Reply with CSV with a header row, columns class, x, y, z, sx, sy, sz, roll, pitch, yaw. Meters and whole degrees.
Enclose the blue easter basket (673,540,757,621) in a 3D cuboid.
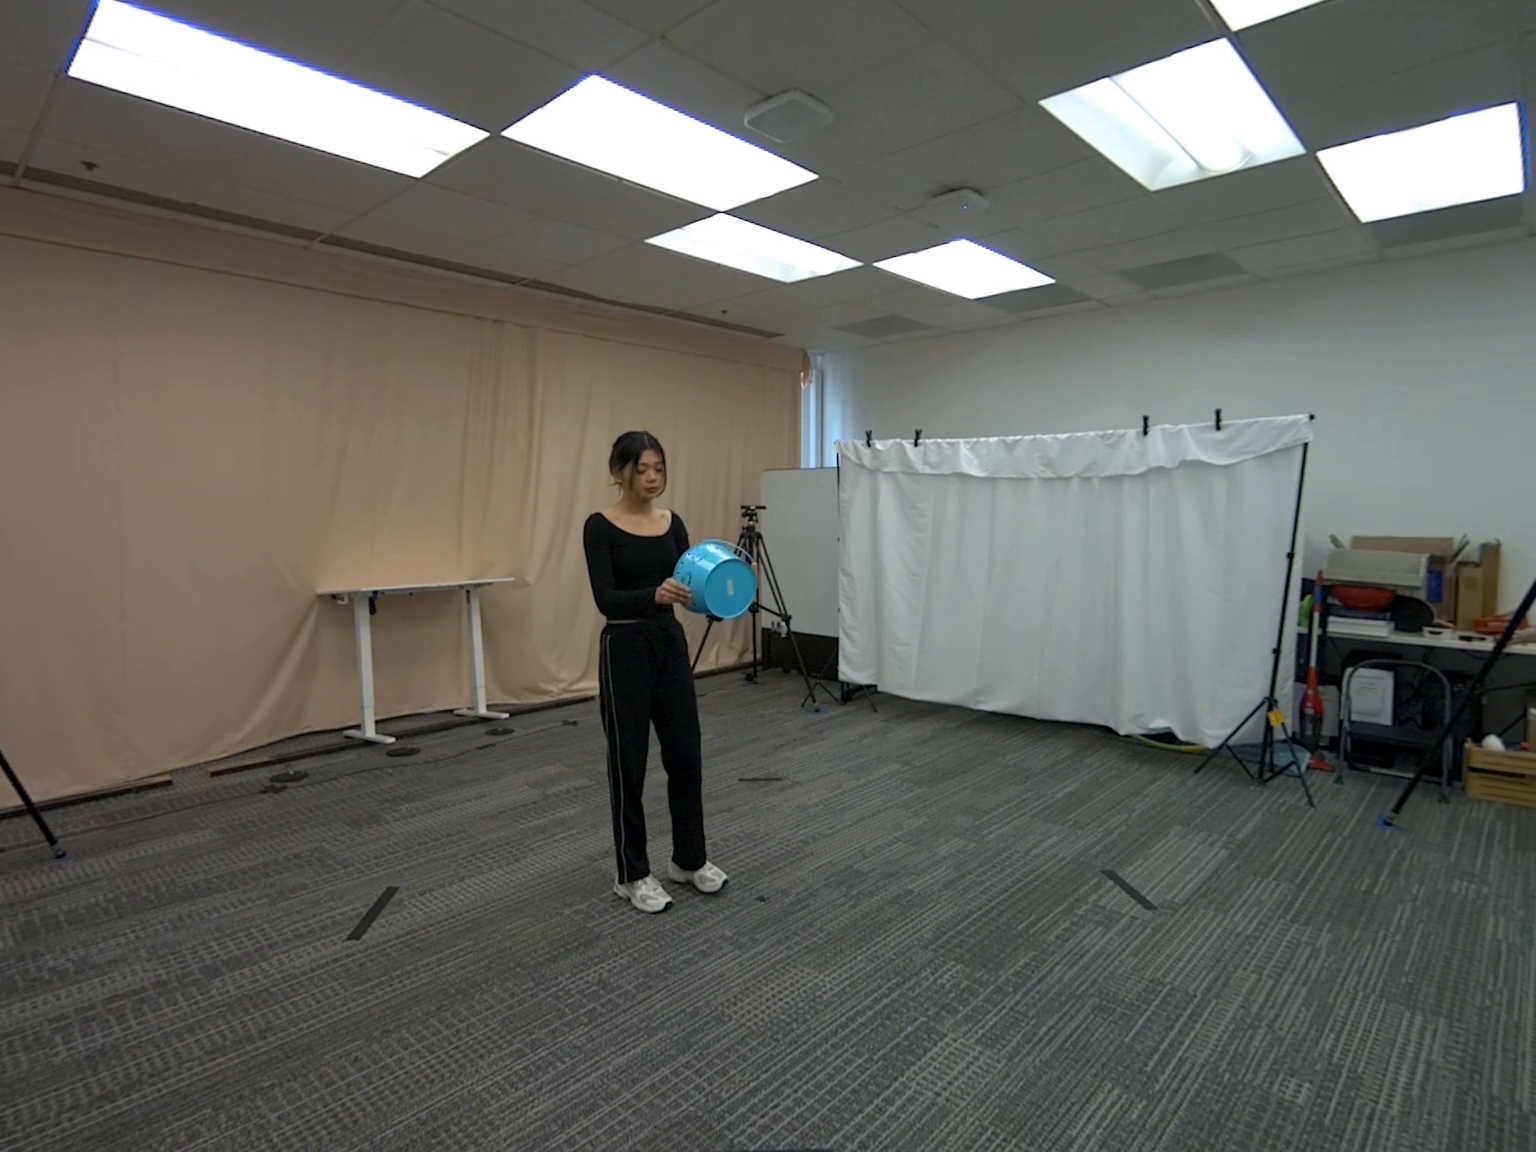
class,x,y,z,sx,sy,sz,roll,pitch,yaw
blue easter basket,-0.152,0.022,2.554,0.237,0.242,0.161,-2,11,-29
